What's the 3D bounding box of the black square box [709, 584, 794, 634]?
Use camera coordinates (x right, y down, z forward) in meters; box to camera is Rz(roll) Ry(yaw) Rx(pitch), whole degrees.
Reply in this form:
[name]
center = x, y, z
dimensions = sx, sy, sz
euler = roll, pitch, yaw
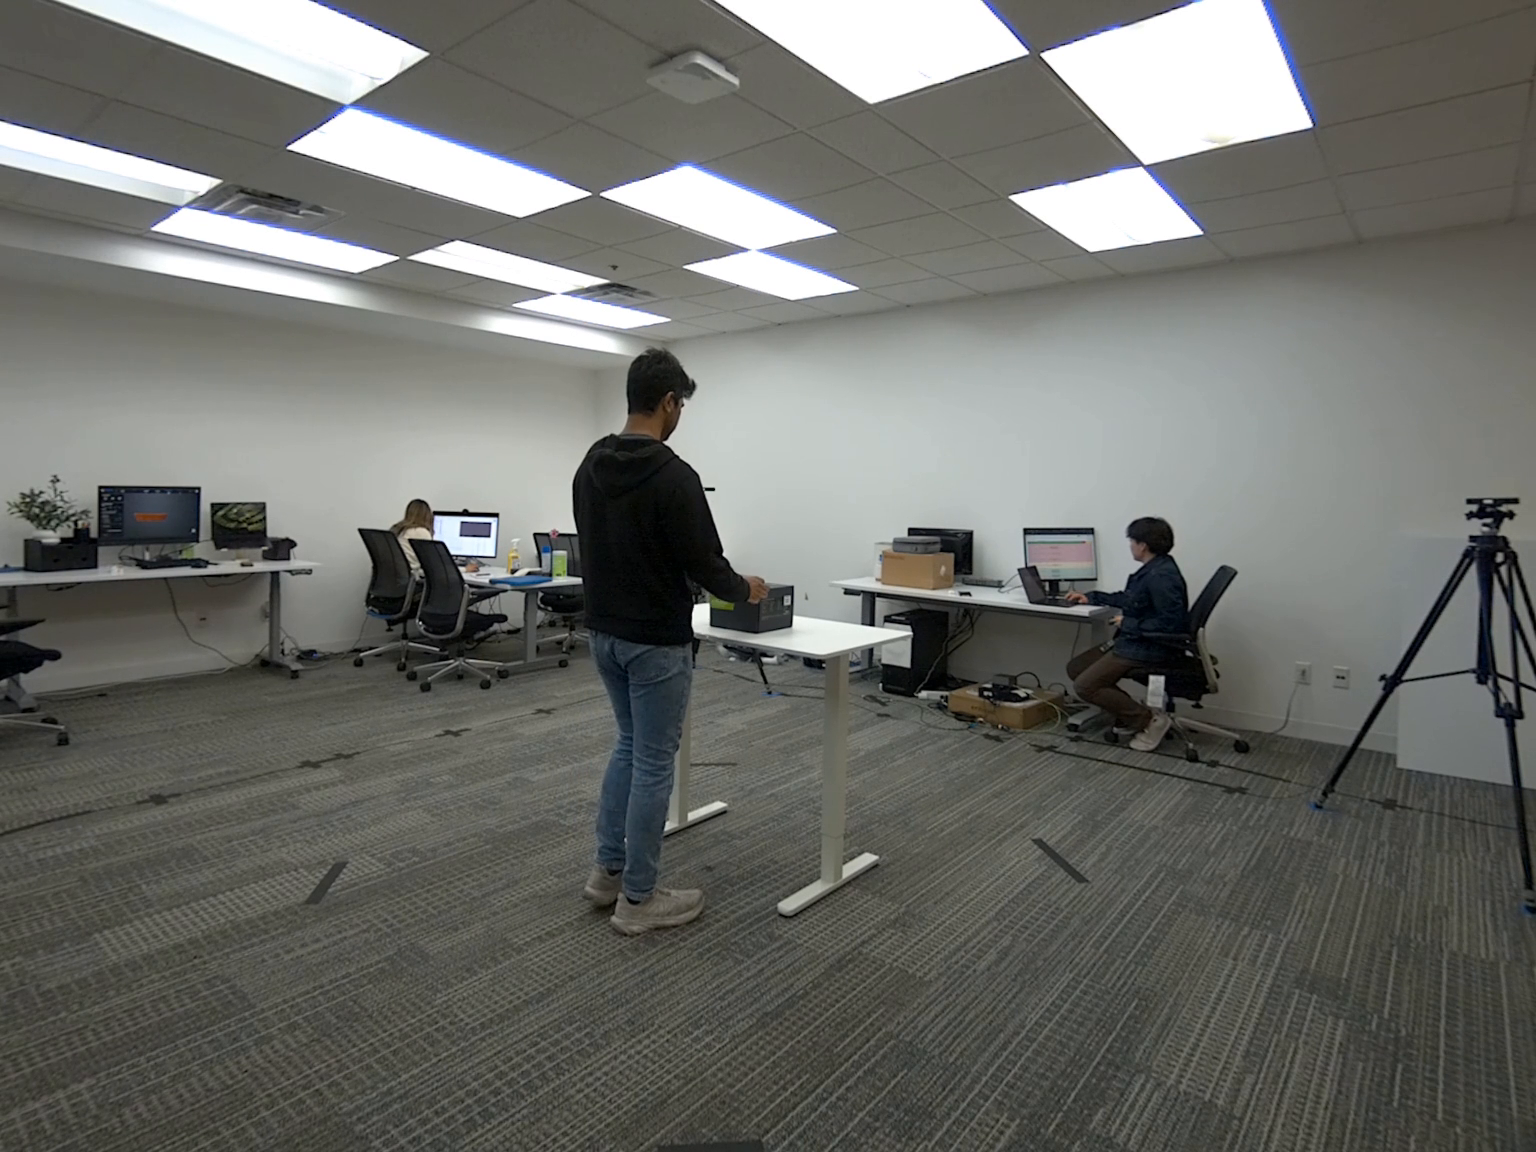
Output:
[black square box]
center = -0.068, 0.106, 3.129
dimensions = 0.235, 0.155, 0.211
euler = 5, 7, 38
